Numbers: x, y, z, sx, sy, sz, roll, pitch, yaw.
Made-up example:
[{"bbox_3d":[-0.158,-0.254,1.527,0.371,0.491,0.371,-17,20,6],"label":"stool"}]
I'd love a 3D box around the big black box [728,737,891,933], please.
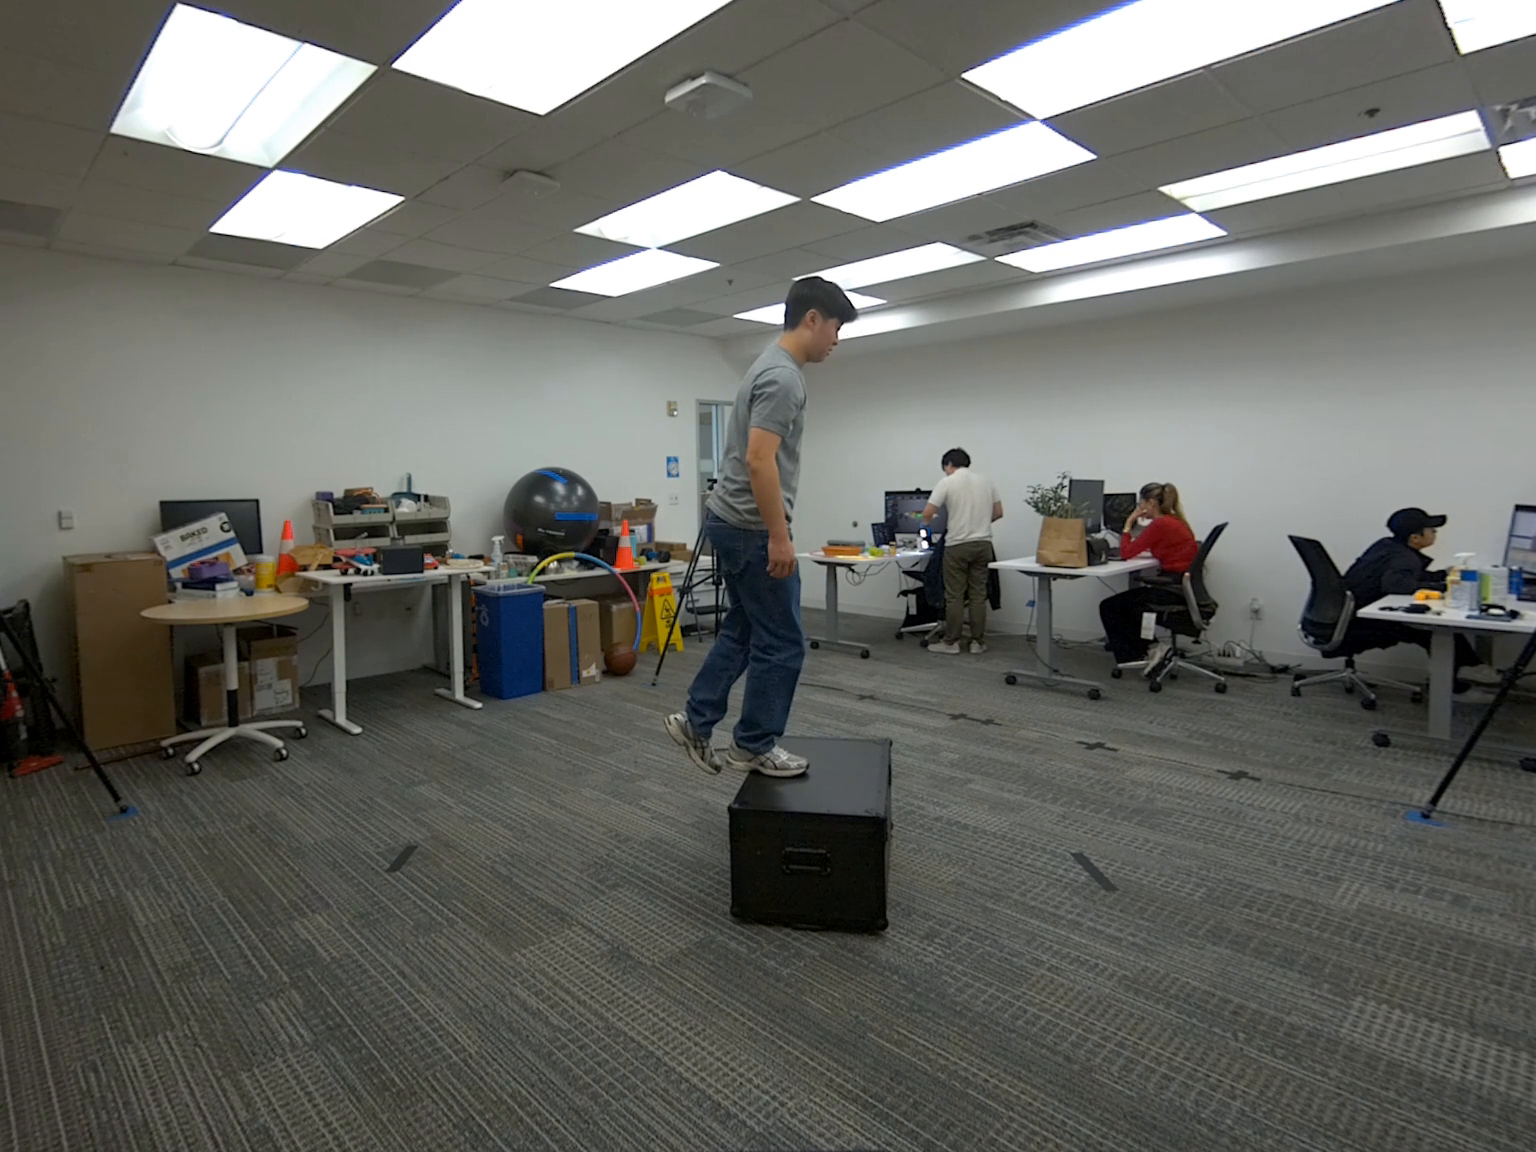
[{"bbox_3d":[0.190,0.856,3.032,0.527,0.394,0.856,-1,6,11],"label":"big black box"}]
